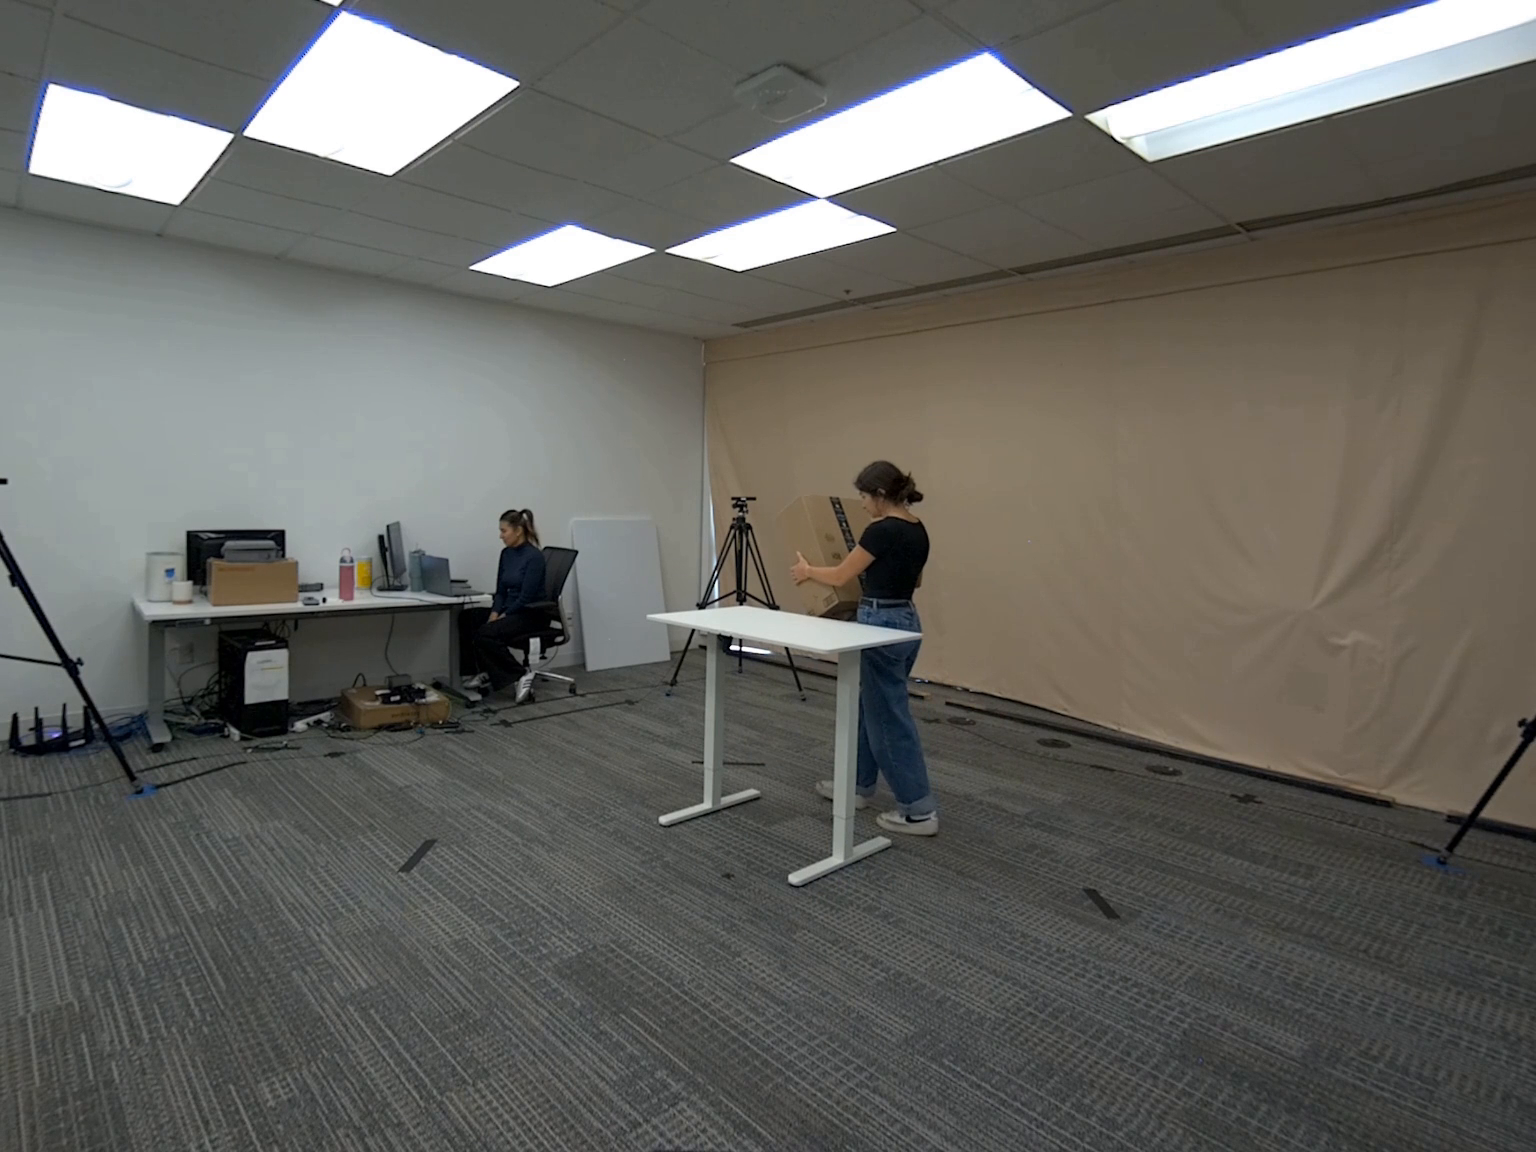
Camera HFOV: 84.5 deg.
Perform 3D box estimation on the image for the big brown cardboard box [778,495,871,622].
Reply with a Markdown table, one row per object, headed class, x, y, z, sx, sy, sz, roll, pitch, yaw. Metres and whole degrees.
| class | x | y | z | sx | sy | sz | roll | pitch | yaw |
| --- | --- | --- | --- | --- | --- | --- | --- | --- | --- |
| big brown cardboard box | 0.316 | -0.089 | 4.003 | 0.407 | 0.602 | 0.234 | 4 | -32 | -38 |
